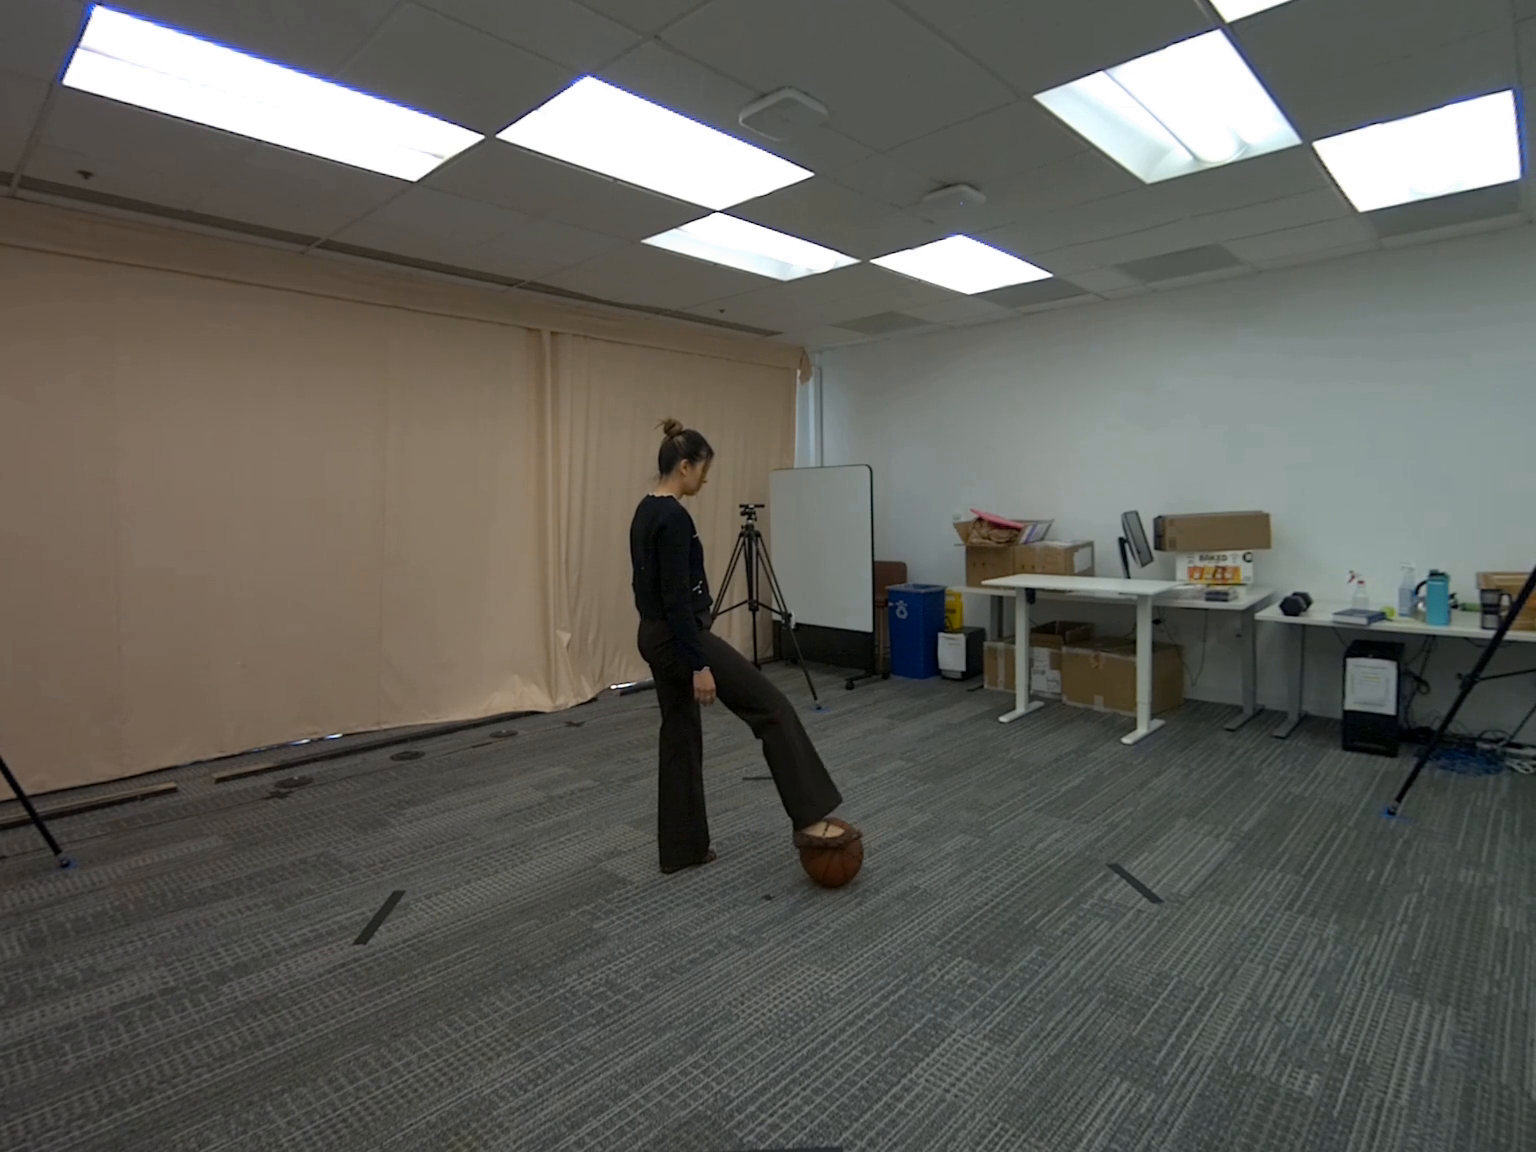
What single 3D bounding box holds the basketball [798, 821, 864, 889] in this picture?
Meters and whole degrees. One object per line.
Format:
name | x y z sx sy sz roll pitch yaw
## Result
basketball | 0.231 1.006 3.094 0.236 0.235 0.237 -1 4 -2
